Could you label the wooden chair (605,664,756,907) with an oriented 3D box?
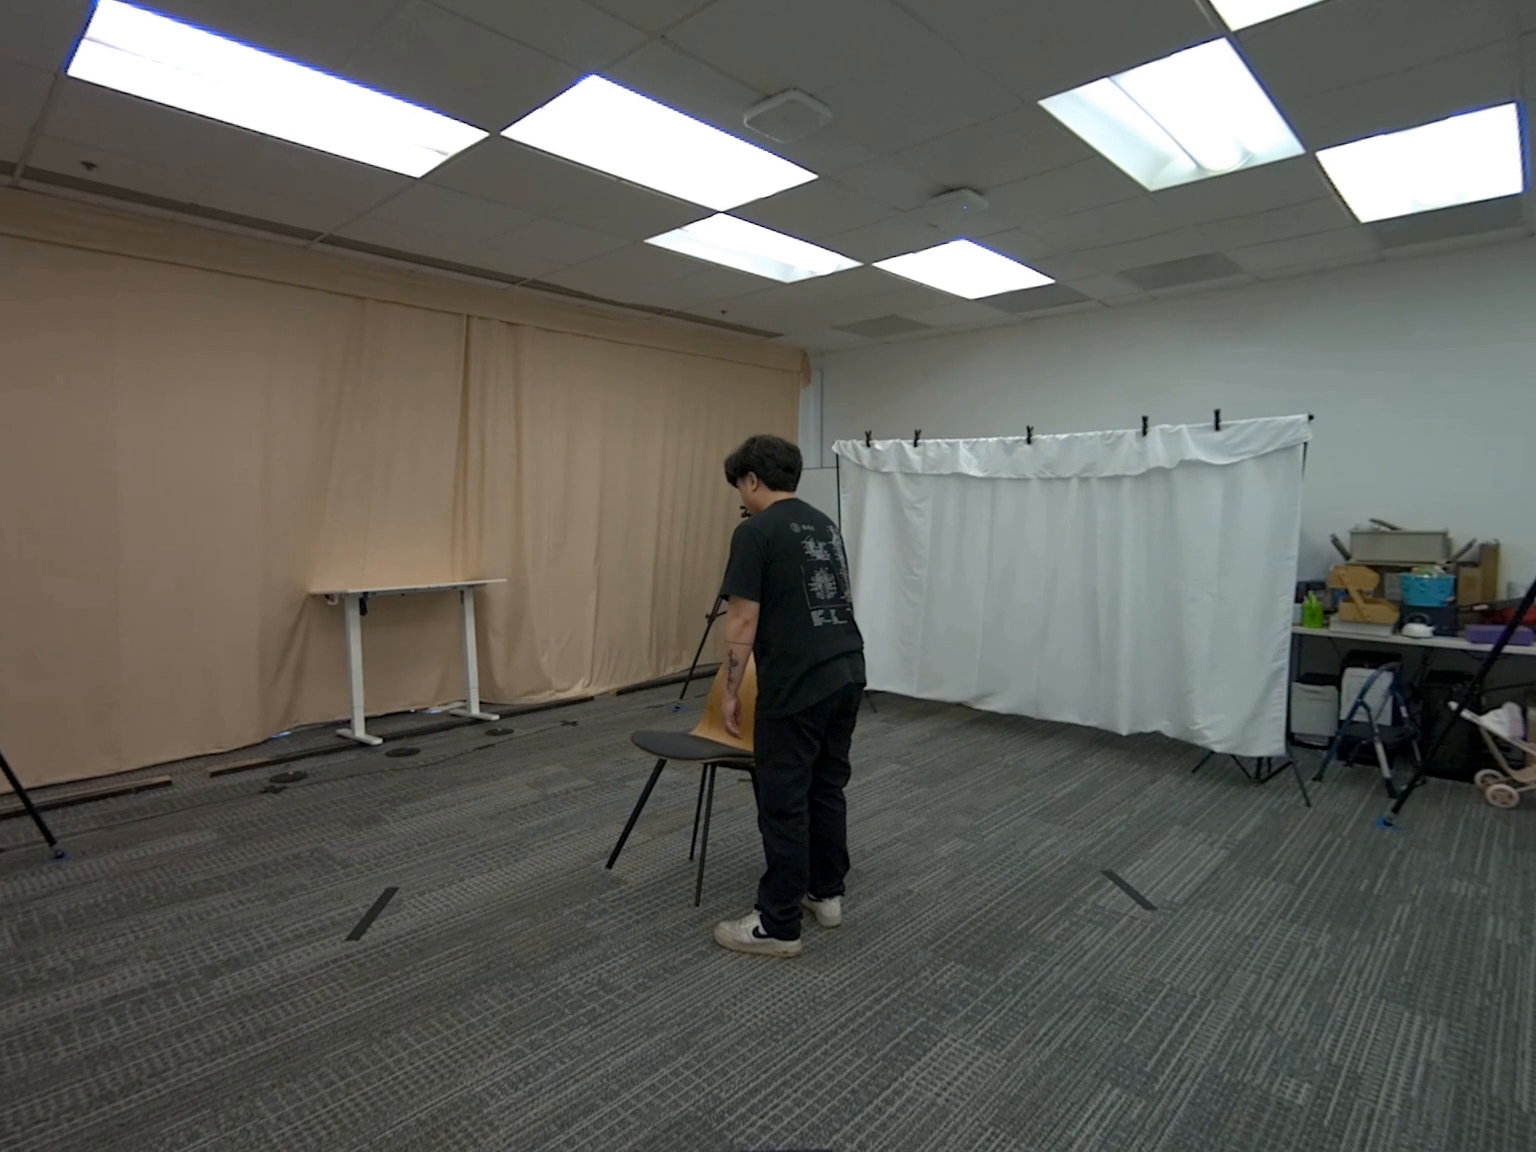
[{"bbox_3d":[-0.209,0.667,3.054,0.494,0.881,0.504,3,-14,41],"label":"wooden chair"}]
